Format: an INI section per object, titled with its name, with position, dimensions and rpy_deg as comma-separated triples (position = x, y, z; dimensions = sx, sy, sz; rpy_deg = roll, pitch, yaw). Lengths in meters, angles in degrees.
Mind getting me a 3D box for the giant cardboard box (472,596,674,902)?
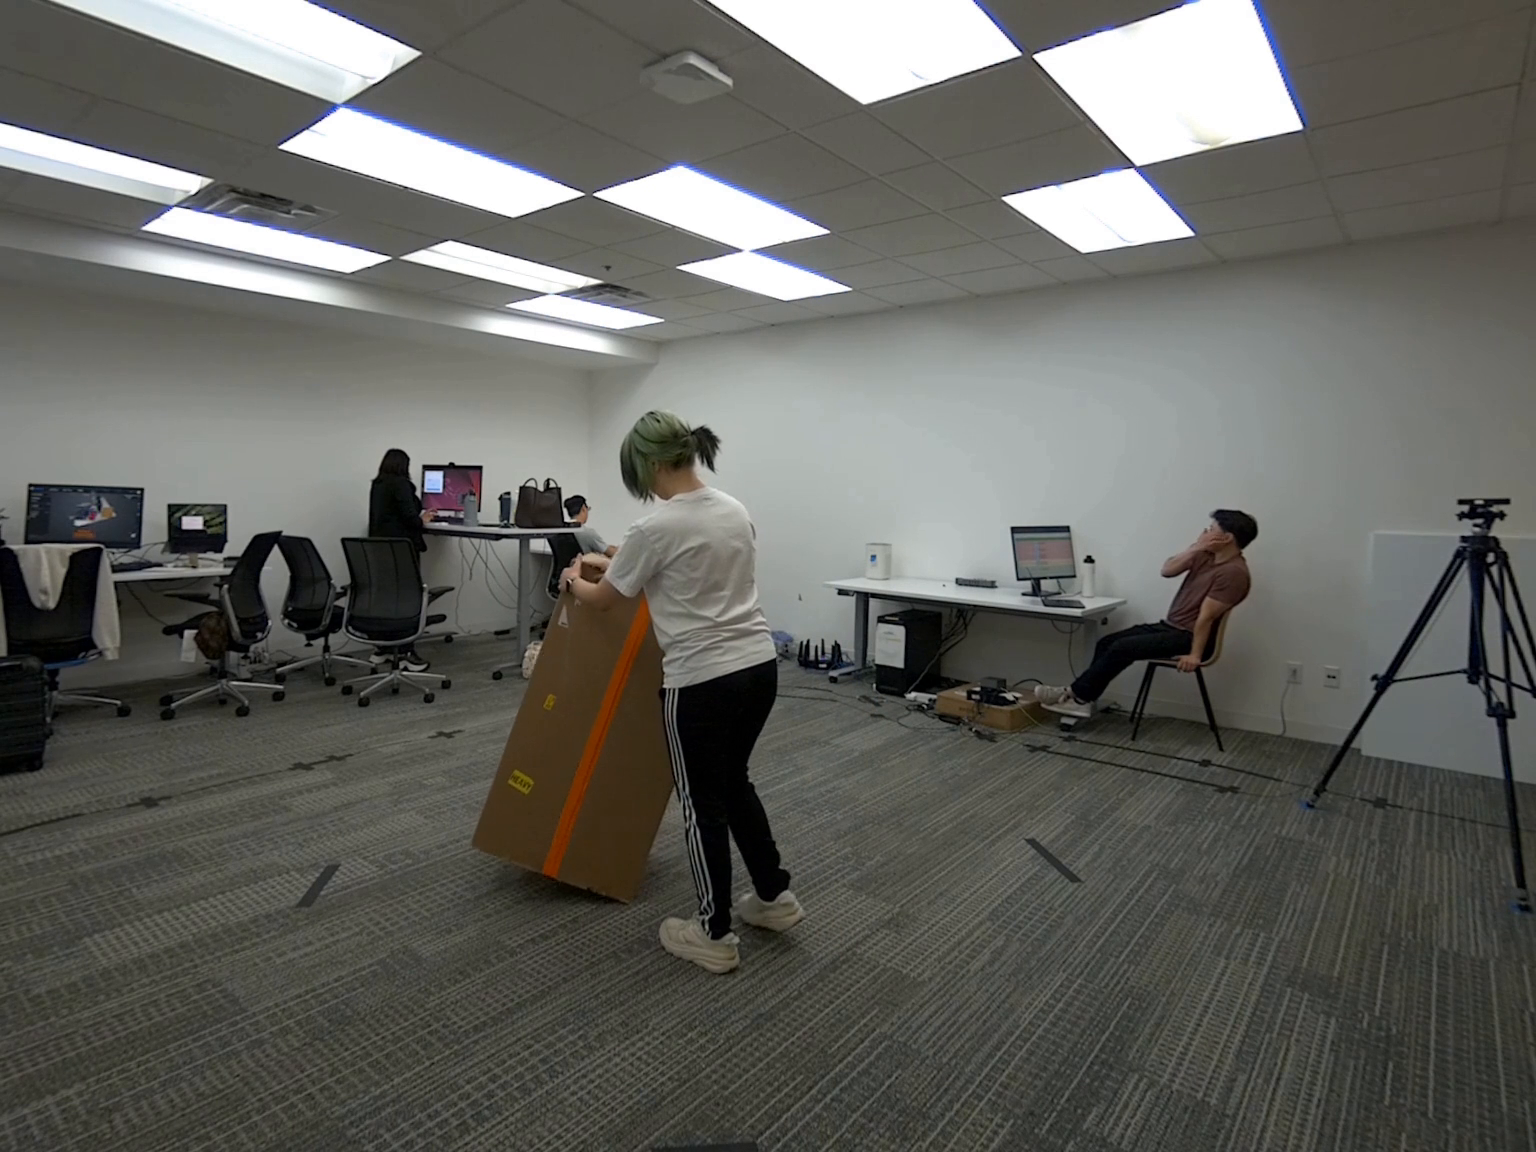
[giant cardboard box]
position = -0.577, 0.508, 3.020
dimensions = 0.577, 1.025, 0.428
rpy_deg = 20, 2, -2
